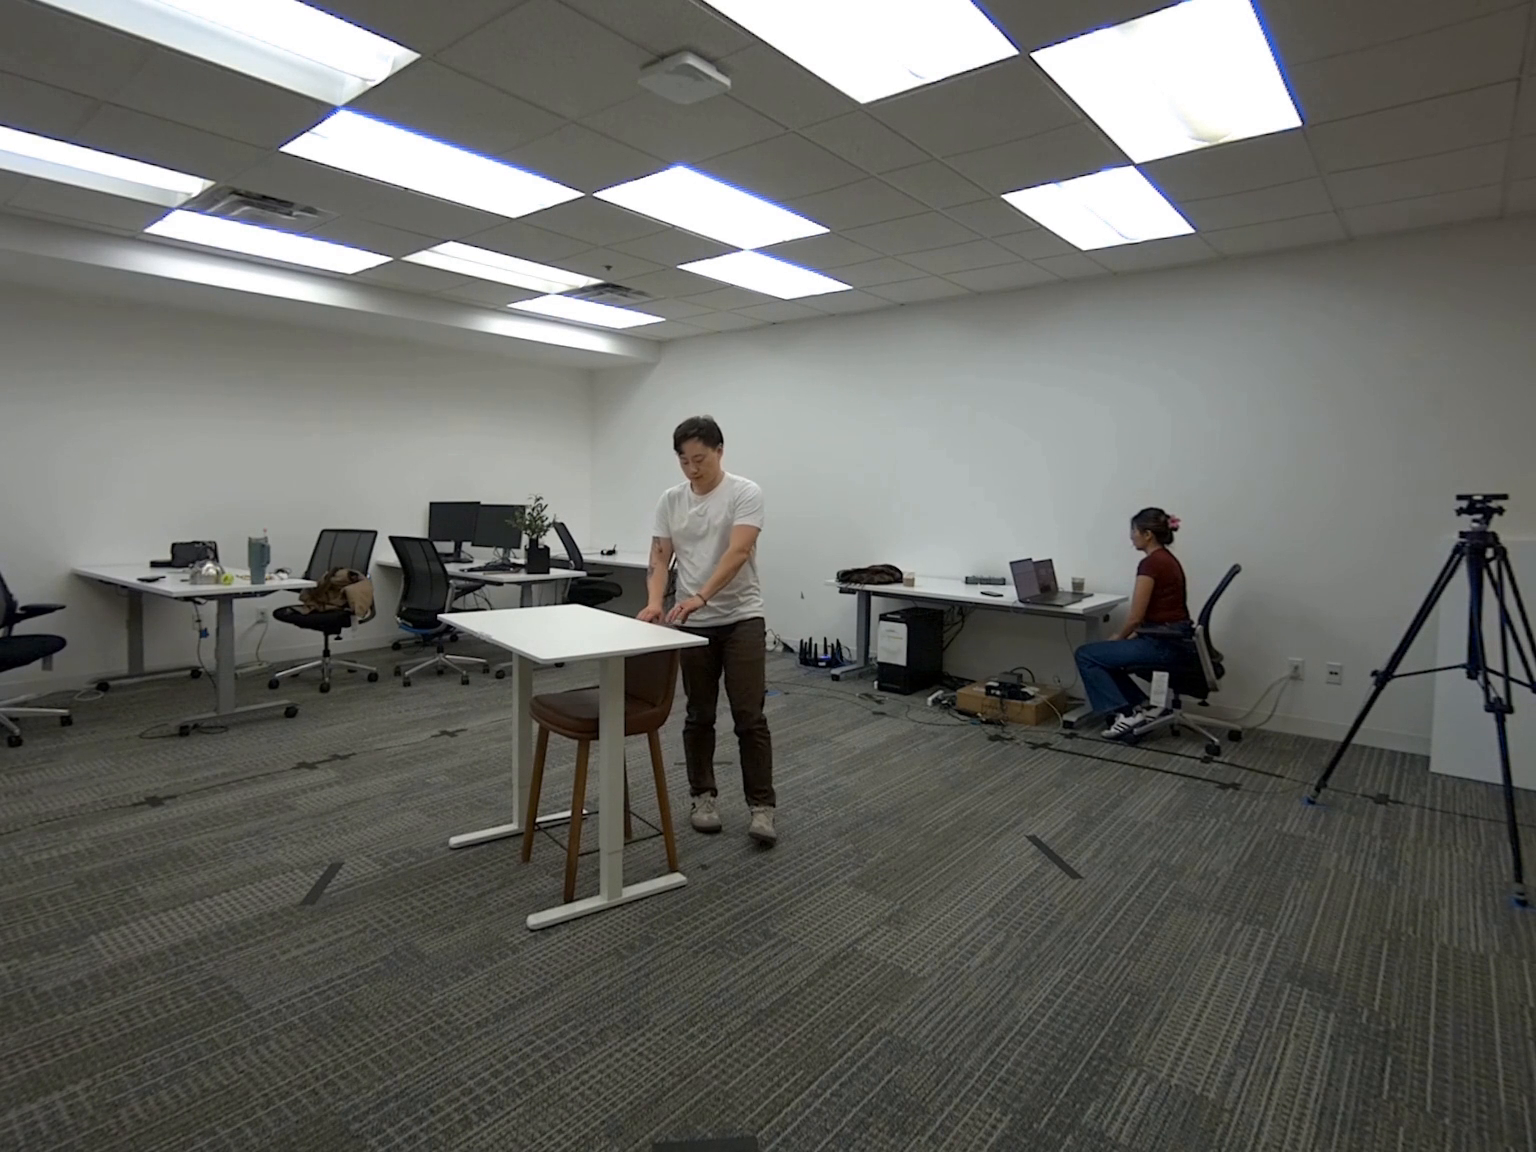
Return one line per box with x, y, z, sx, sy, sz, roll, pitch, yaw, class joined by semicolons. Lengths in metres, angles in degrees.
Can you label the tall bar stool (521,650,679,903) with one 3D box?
-0.607;0.628;3.093;0.453;0.889;0.471;2;2;-36;tall bar stool
